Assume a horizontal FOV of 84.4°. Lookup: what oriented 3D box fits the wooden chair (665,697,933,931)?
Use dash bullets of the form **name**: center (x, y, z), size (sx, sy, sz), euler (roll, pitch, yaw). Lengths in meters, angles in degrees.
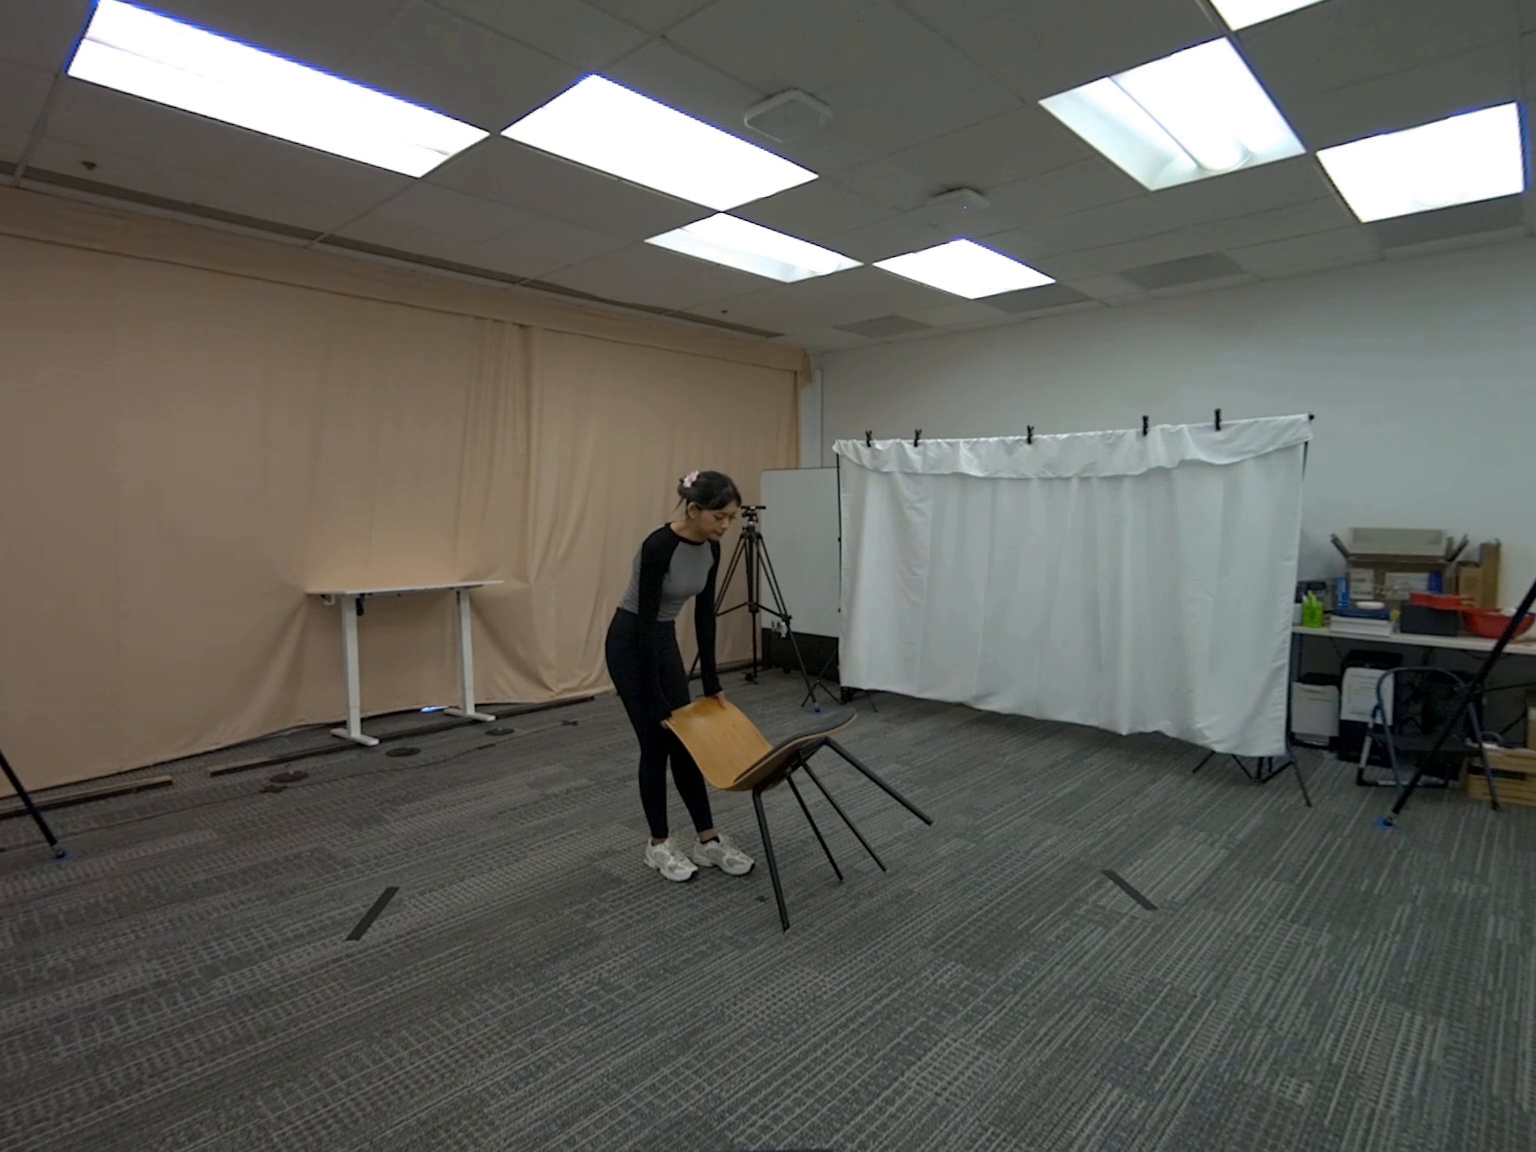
- **wooden chair**: center (0.090, 0.669, 2.953), size (0.526, 0.897, 0.465), euler (-48, -21, 25)
